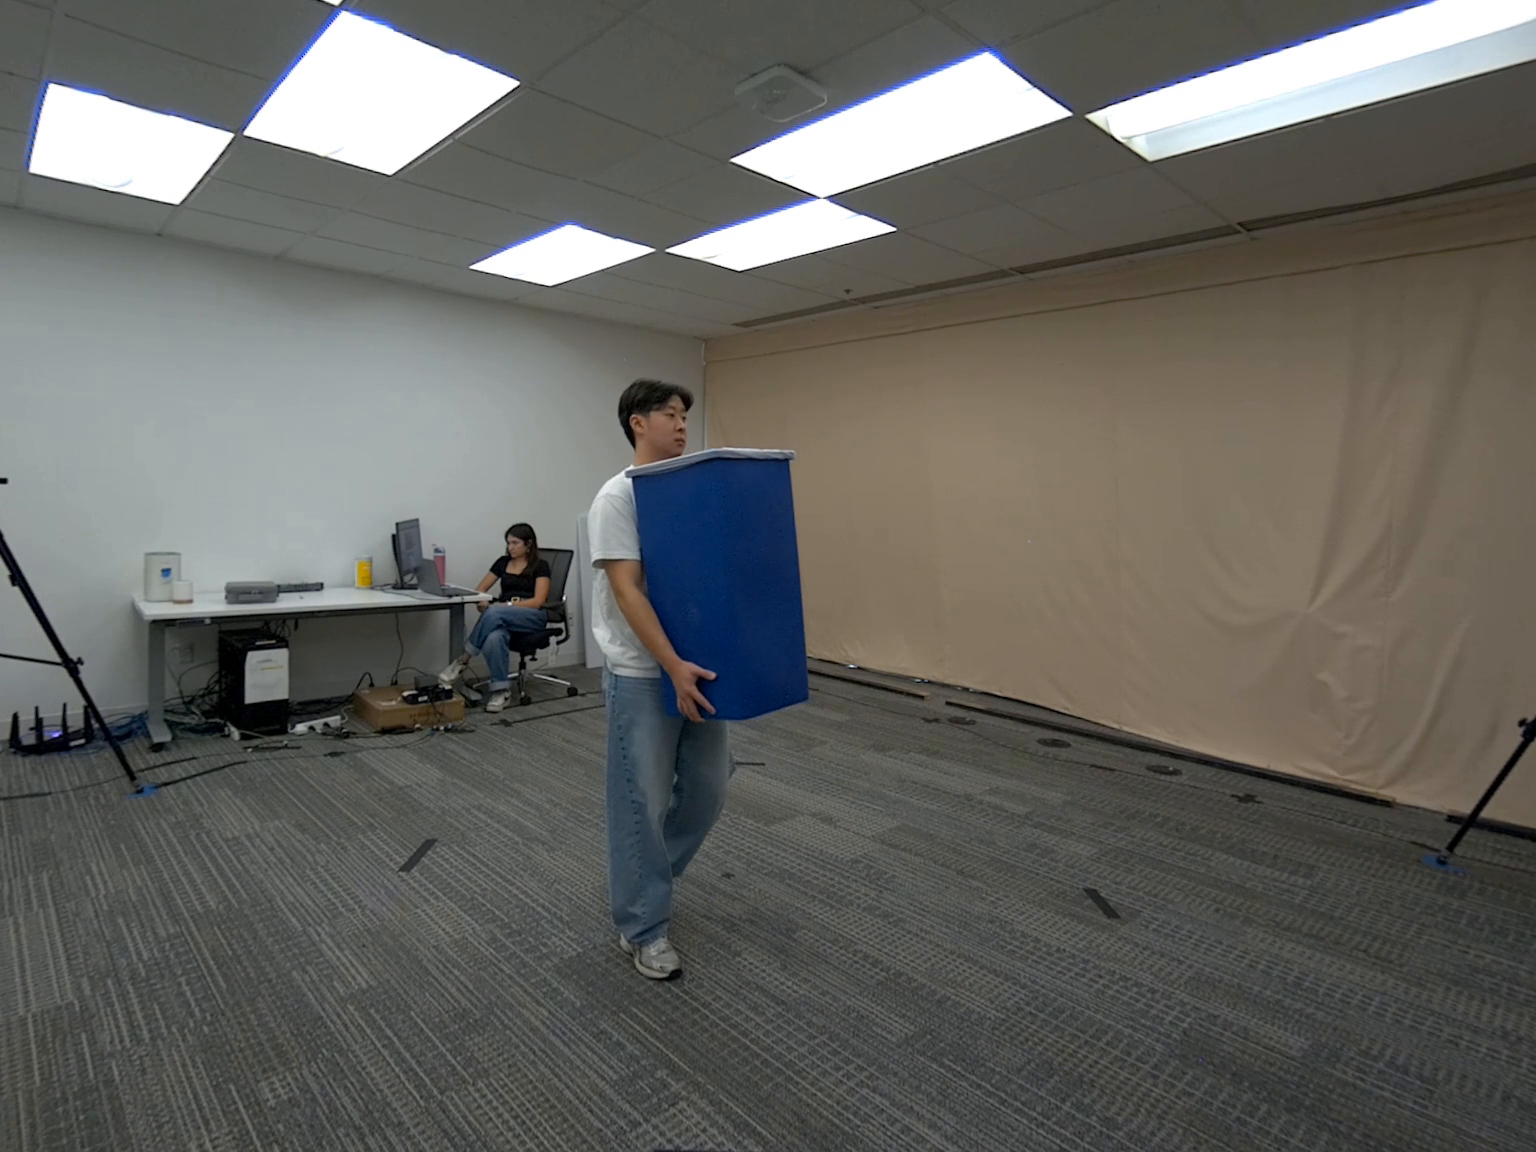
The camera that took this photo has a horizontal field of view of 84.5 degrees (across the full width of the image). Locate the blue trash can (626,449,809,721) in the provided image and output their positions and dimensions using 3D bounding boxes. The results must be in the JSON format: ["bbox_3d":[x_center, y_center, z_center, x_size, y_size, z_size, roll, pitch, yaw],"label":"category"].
[{"bbox_3d":[-0.129,0.018,2.398,0.386,0.714,0.366,-8,-2,38],"label":"blue trash can"}]
